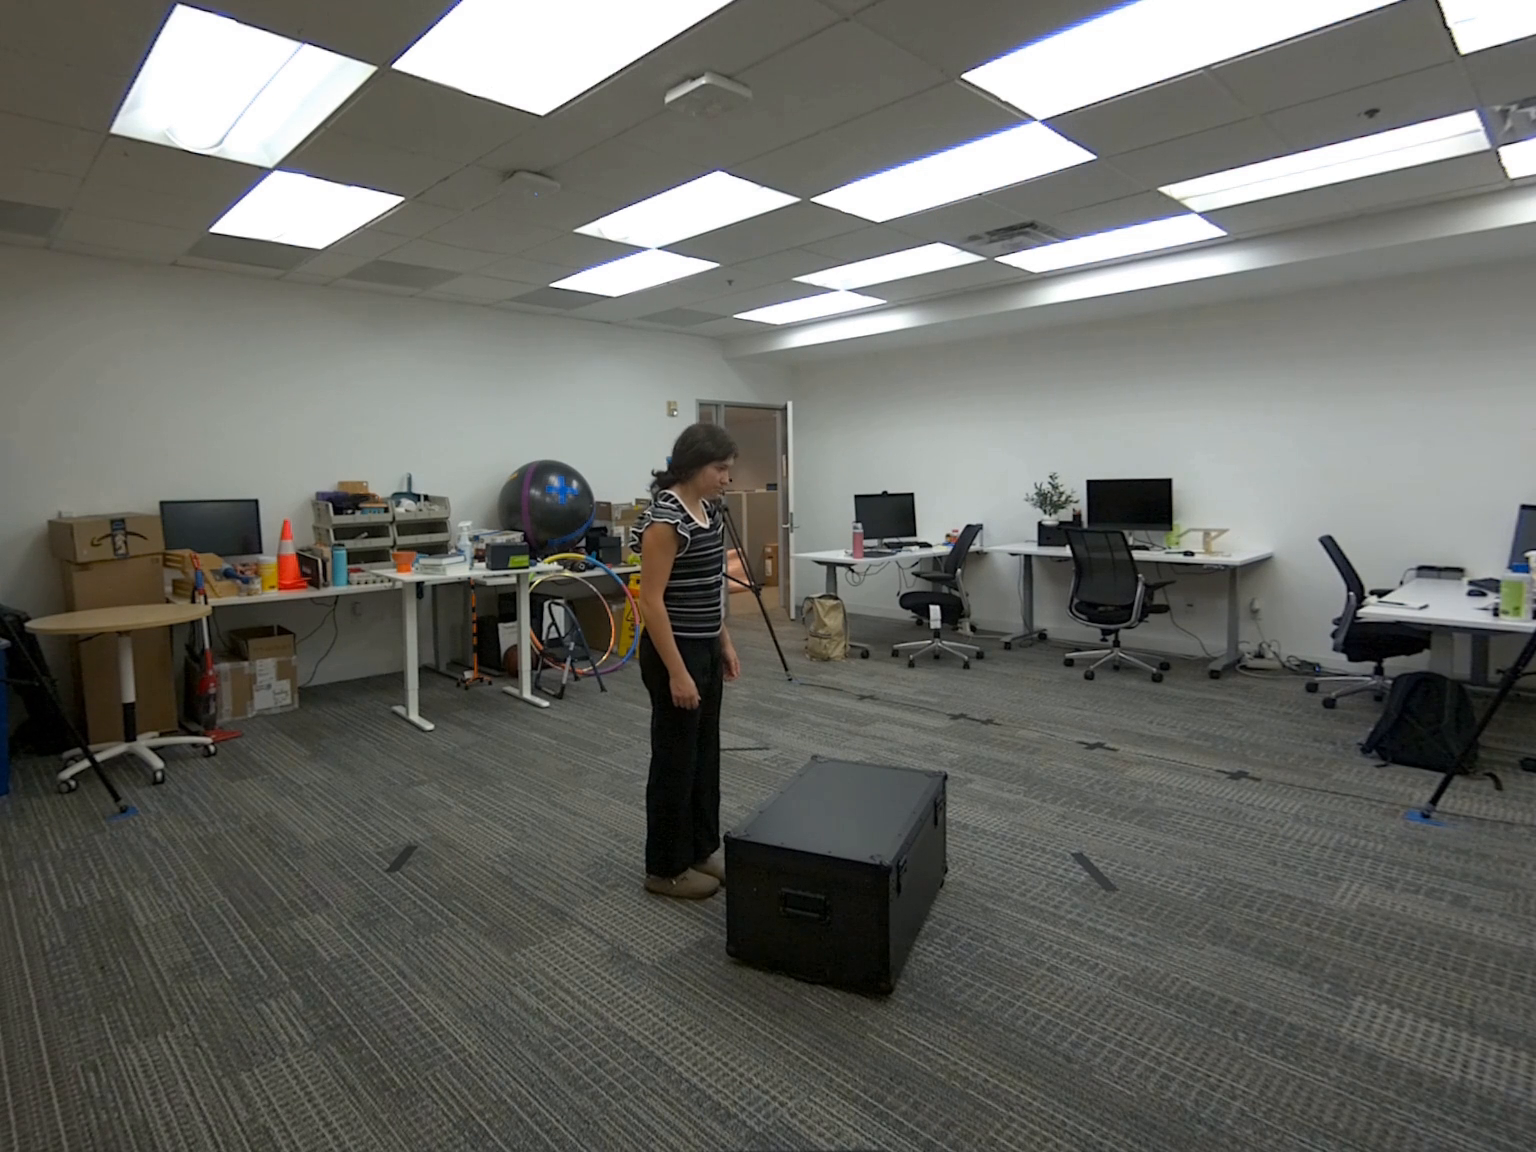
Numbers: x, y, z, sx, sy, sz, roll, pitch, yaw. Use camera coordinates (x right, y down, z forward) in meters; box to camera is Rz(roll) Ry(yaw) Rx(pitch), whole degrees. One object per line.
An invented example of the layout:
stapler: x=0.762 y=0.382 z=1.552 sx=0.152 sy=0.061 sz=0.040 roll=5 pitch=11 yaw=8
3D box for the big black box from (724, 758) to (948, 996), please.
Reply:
big black box: x=0.262 y=0.891 z=2.731 sx=0.533 sy=0.394 sz=0.847 roll=0 pitch=7 yaw=23
